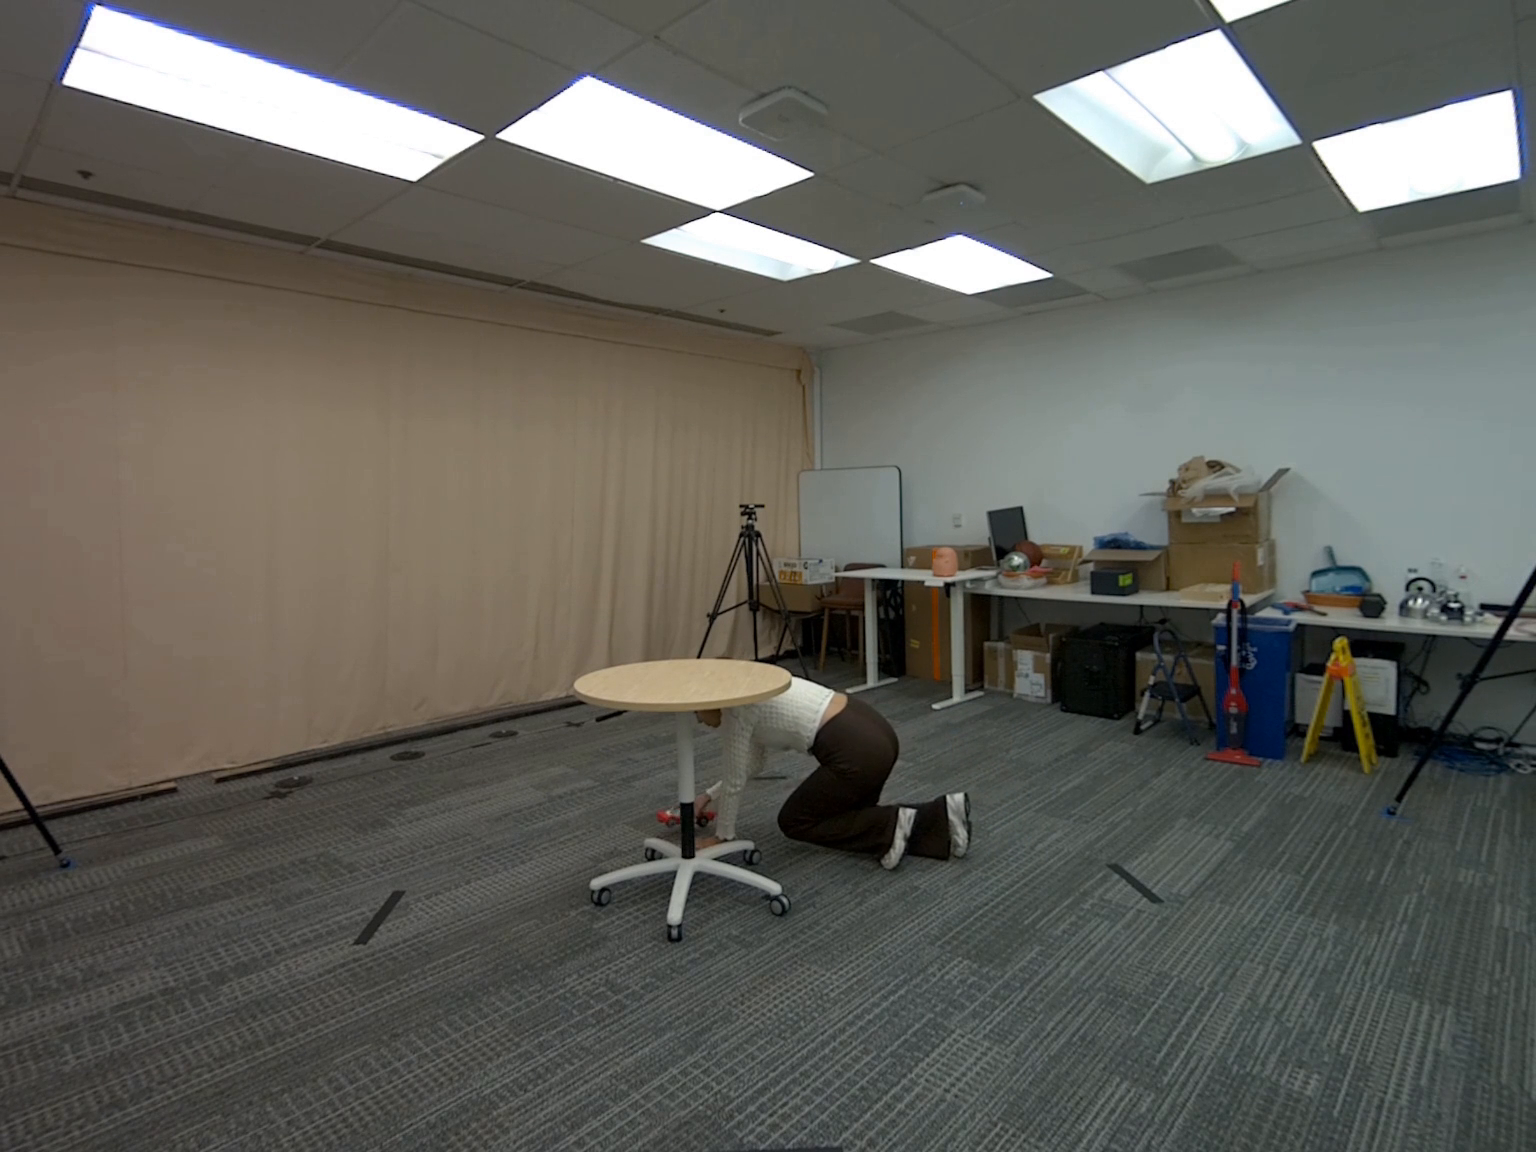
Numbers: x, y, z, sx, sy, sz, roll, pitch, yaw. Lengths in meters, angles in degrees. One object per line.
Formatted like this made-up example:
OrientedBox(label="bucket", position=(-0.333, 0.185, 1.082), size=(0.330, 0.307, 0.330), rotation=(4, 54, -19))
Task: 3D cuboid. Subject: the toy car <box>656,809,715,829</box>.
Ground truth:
OrientedBox(label="toy car", position=(-0.334, 1.030, 3.591), size=(0.248, 0.083, 0.133), rotation=(-4, -2, -27))
